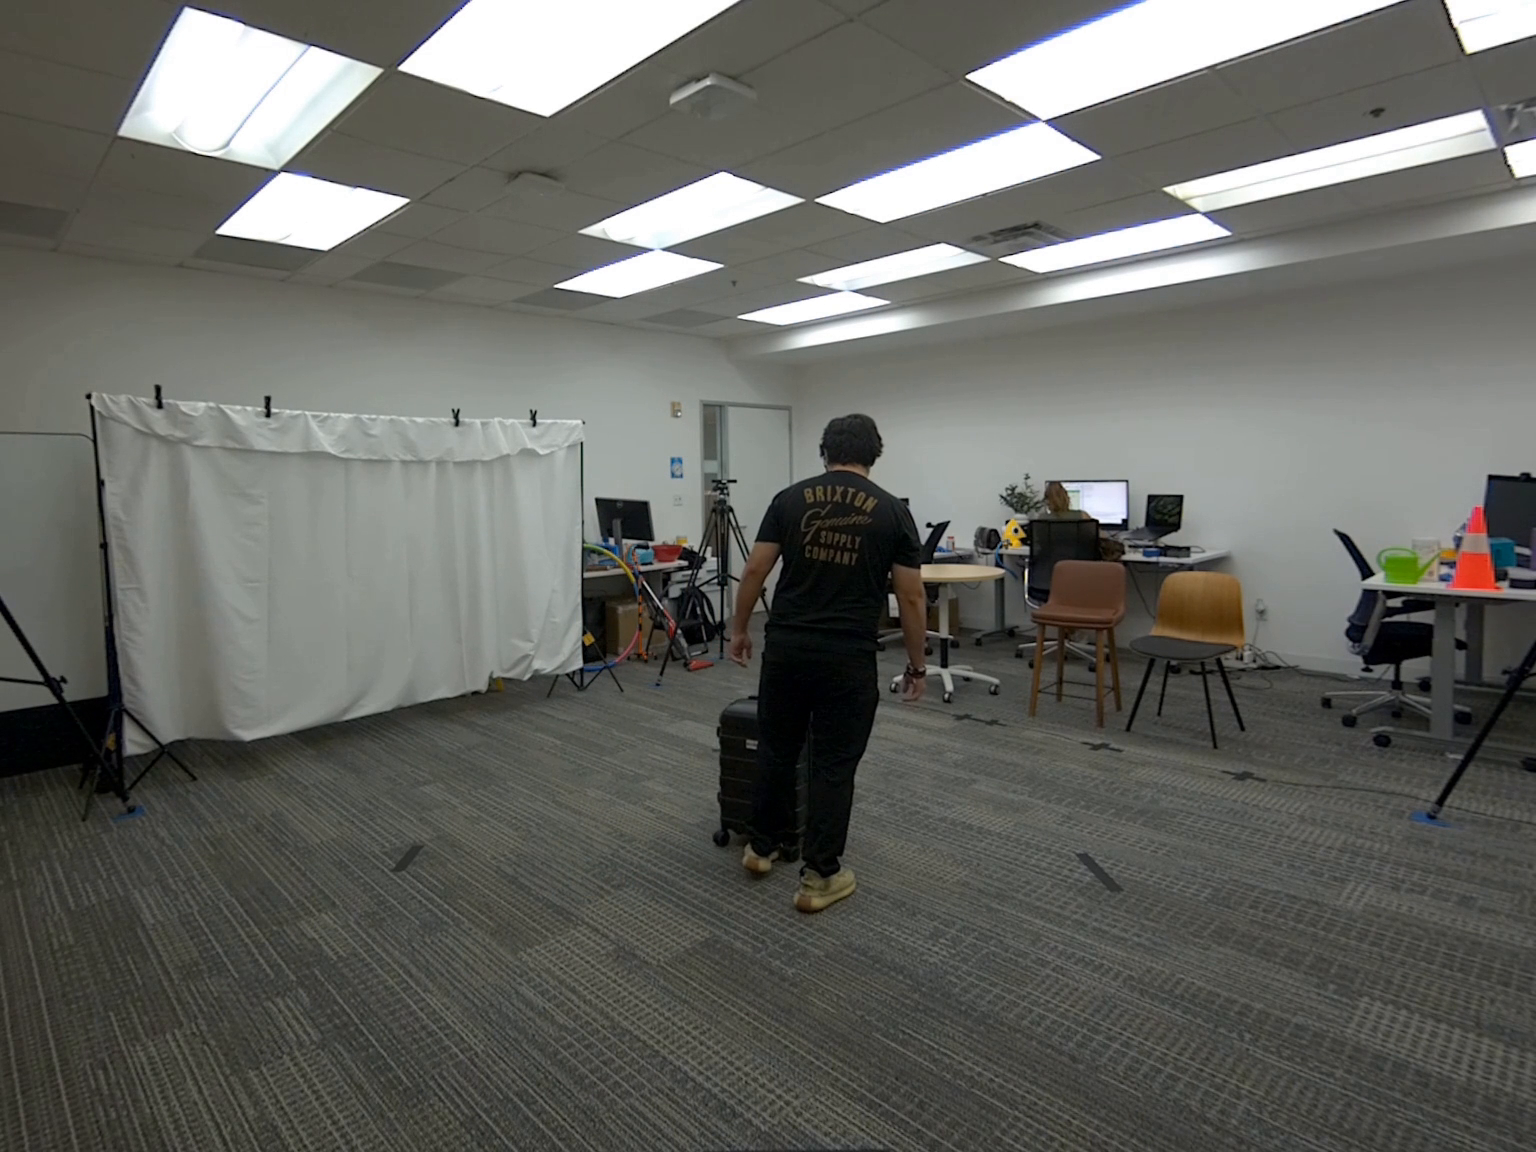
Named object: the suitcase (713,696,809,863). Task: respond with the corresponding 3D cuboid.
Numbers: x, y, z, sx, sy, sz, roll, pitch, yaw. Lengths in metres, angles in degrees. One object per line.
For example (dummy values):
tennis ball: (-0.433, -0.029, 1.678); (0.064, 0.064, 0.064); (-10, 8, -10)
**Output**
suitcase: (0.008, 0.747, 3.294); (0.384, 0.547, 0.243); (2, 4, 26)
